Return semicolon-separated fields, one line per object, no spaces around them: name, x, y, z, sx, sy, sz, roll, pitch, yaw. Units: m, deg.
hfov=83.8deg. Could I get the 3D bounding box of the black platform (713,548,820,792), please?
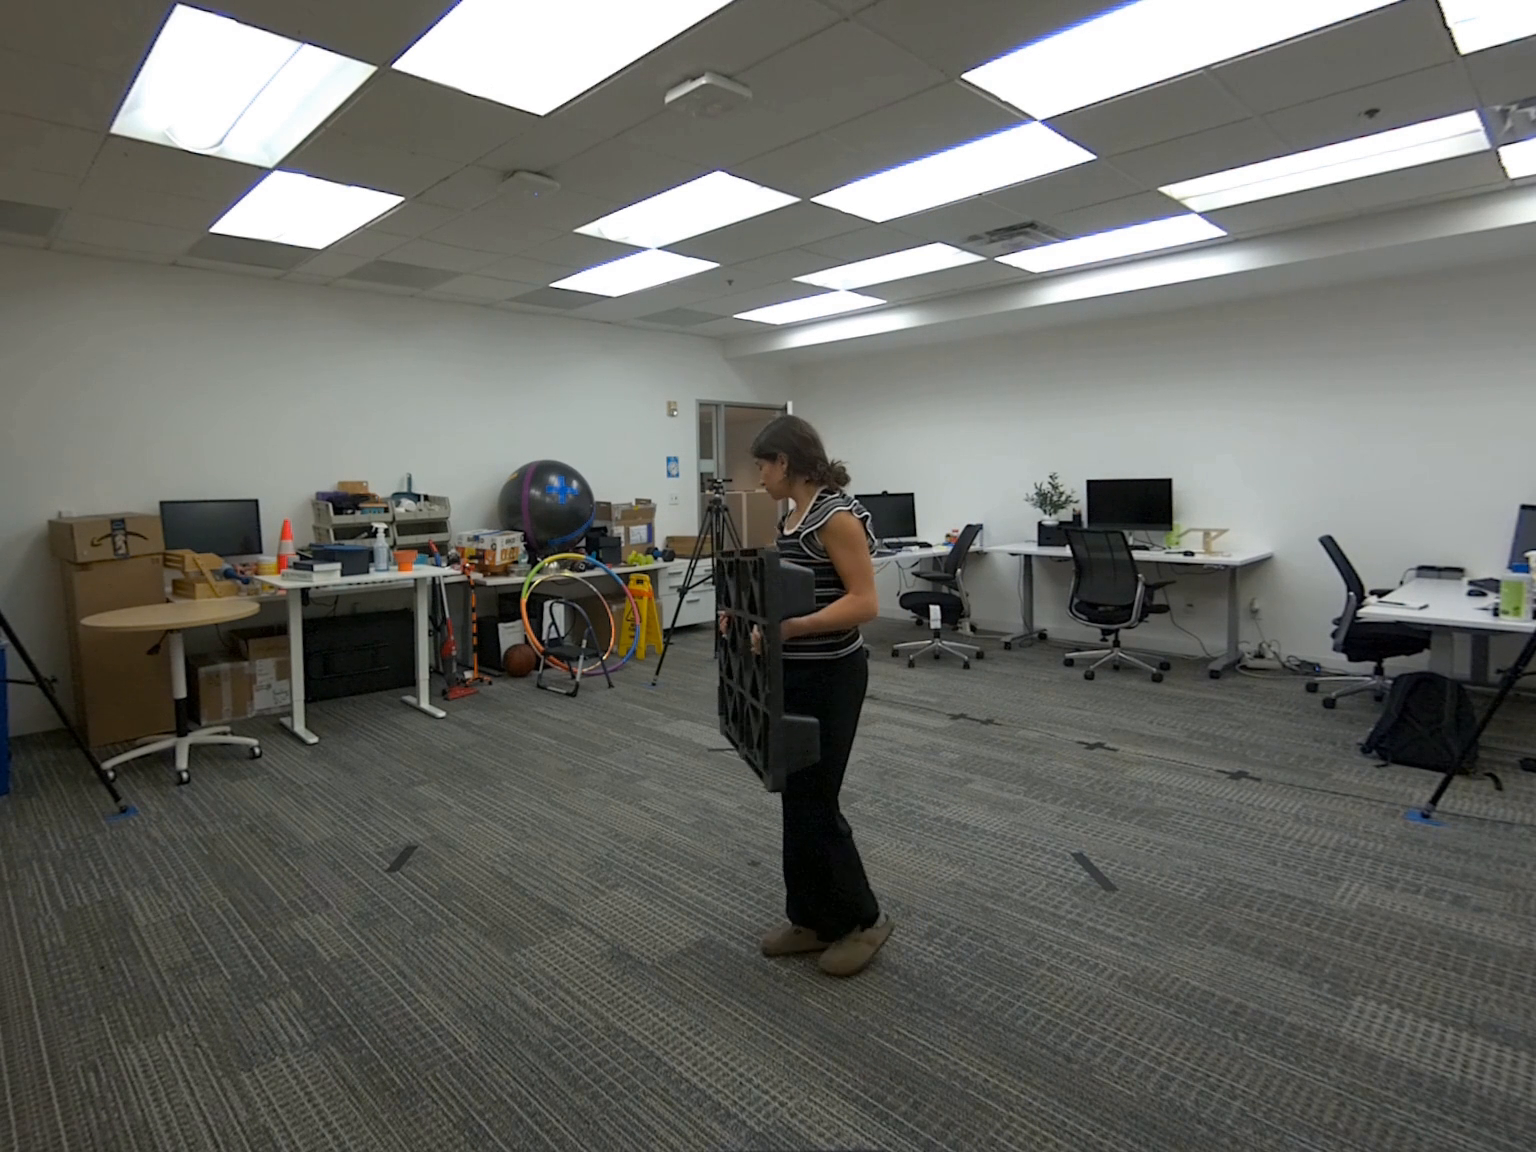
black platform;-0.017;0.222;2.462;0.142;0.606;0.812;0;-1;-11
